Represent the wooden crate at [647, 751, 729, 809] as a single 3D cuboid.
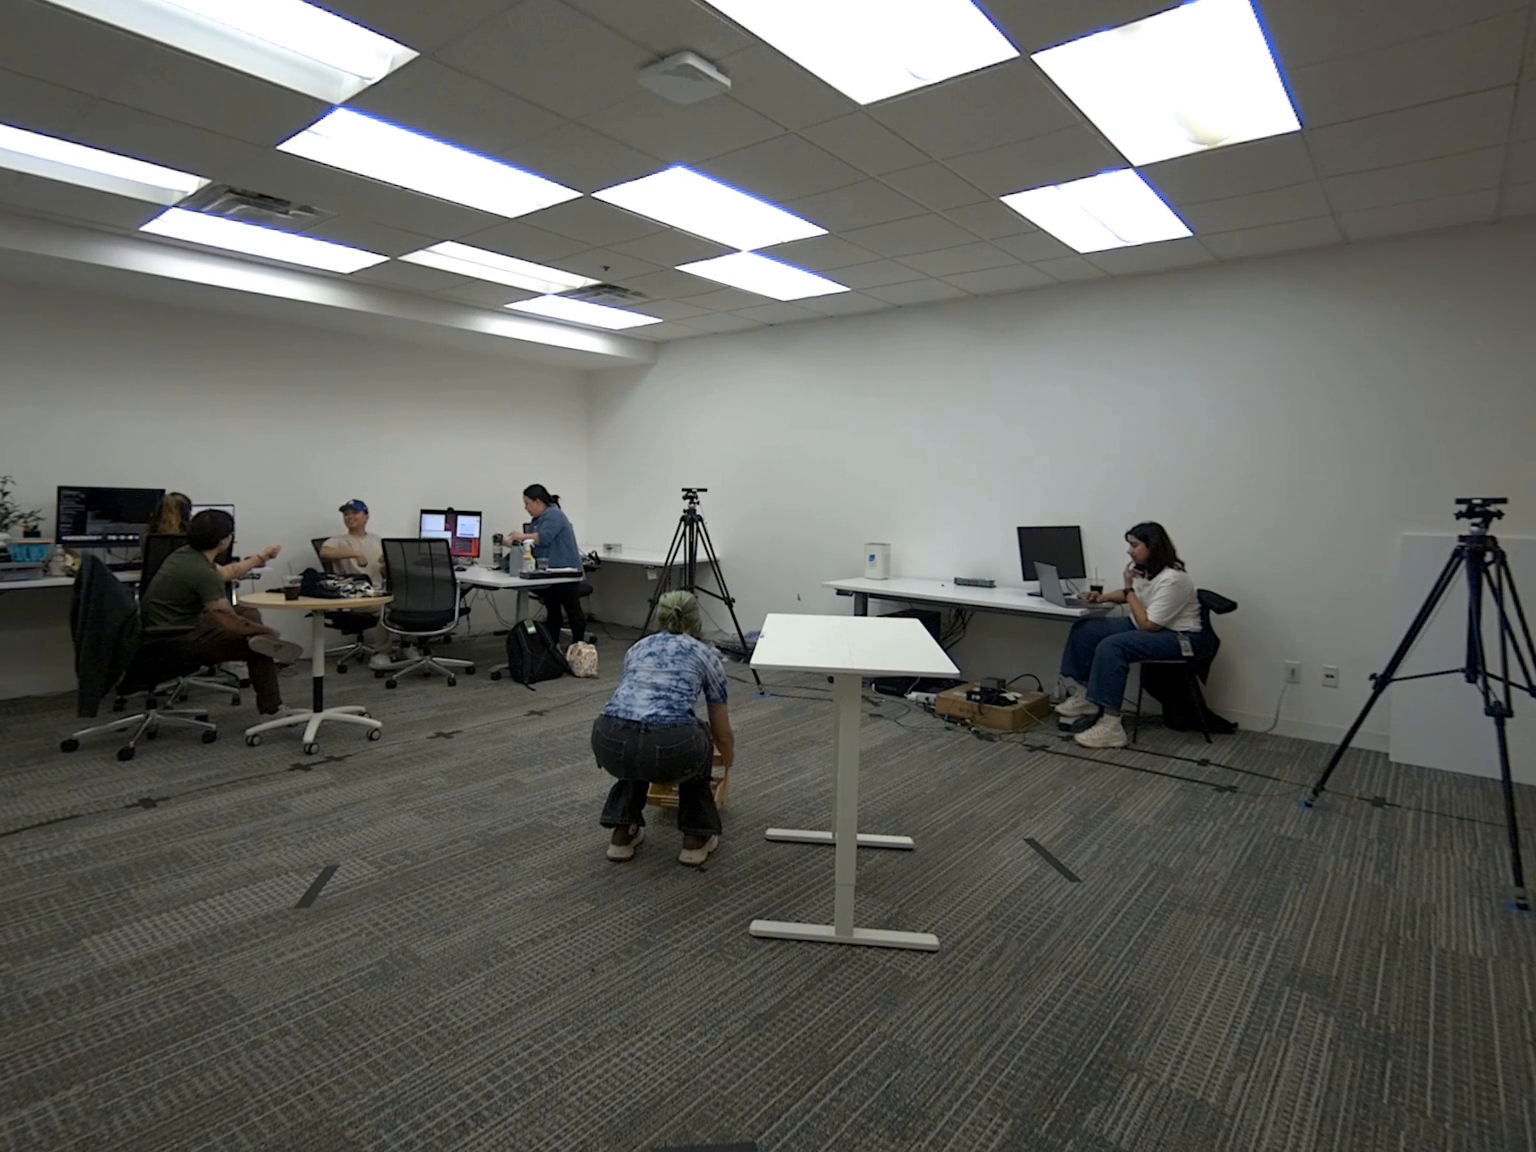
[{"bbox_3d":[-0.342,0.828,3.672,0.329,0.274,0.297,1,-3,11],"label":"wooden crate"}]
